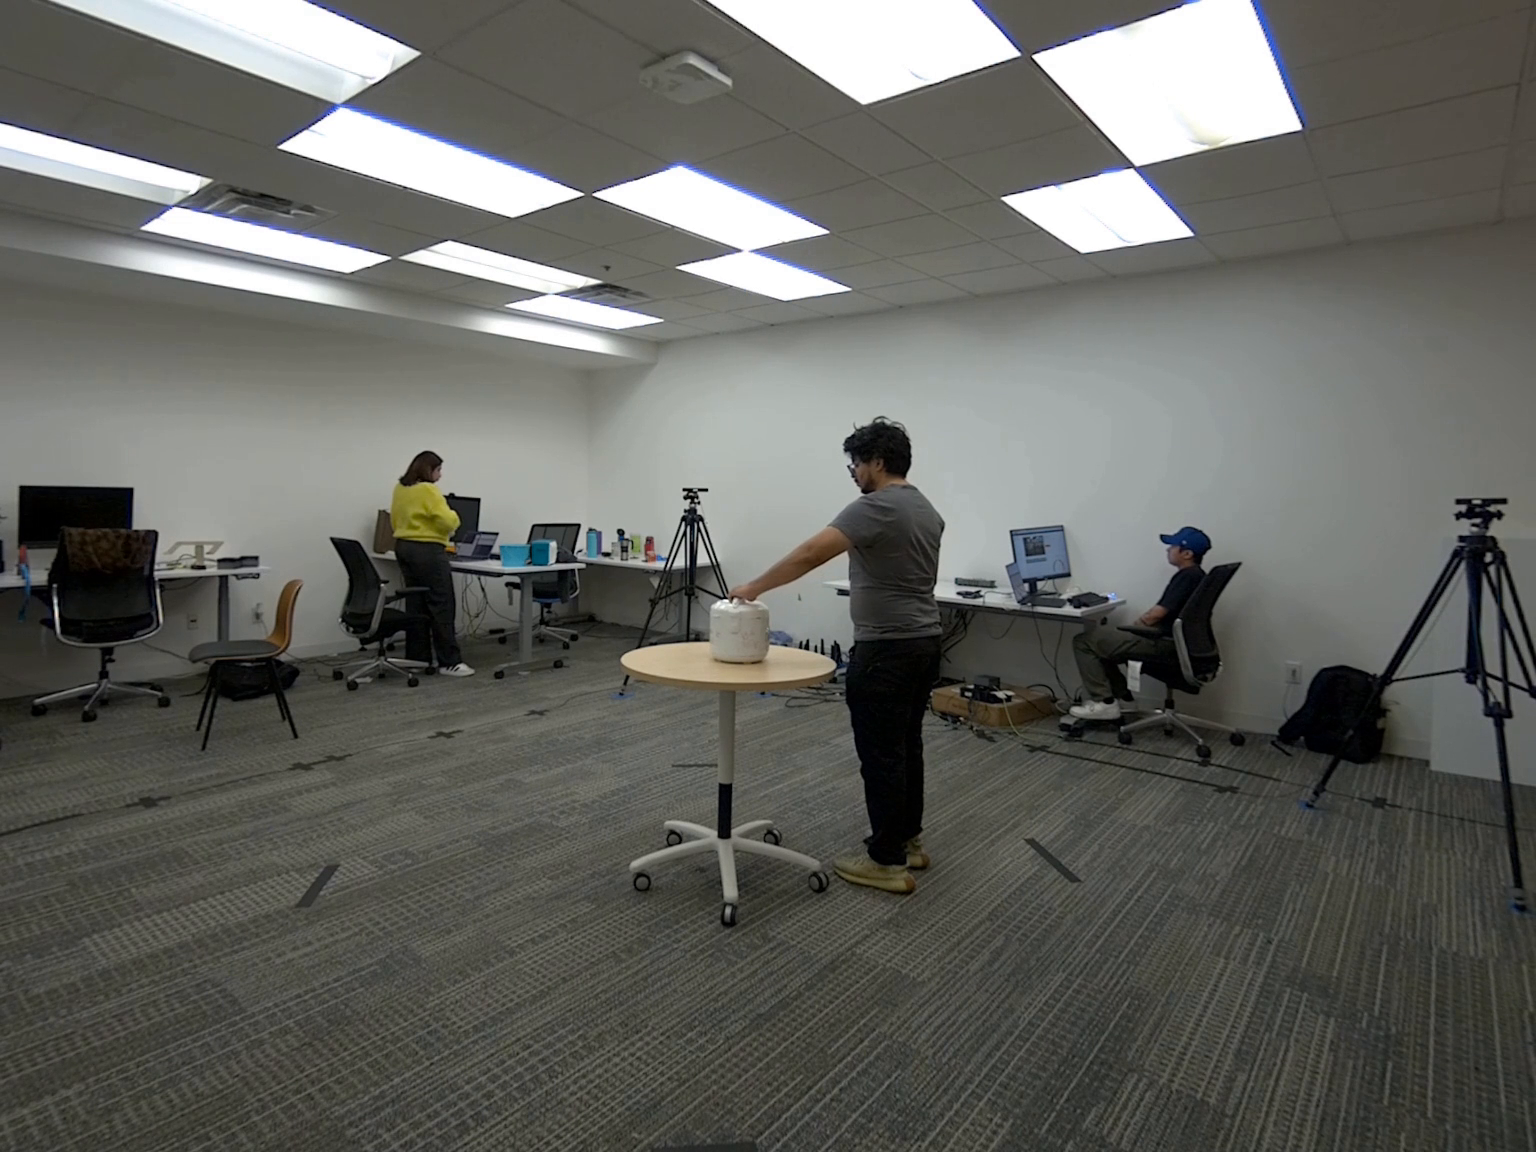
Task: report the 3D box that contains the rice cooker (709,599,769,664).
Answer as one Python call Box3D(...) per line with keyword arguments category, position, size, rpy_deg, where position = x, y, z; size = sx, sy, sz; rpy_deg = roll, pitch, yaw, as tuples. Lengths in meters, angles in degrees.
Box3D(category="rice cooker", position=(-0.112, 0.181, 3.053), size=(0.220, 0.232, 0.218), rpy_deg=(2, 3, 10))
